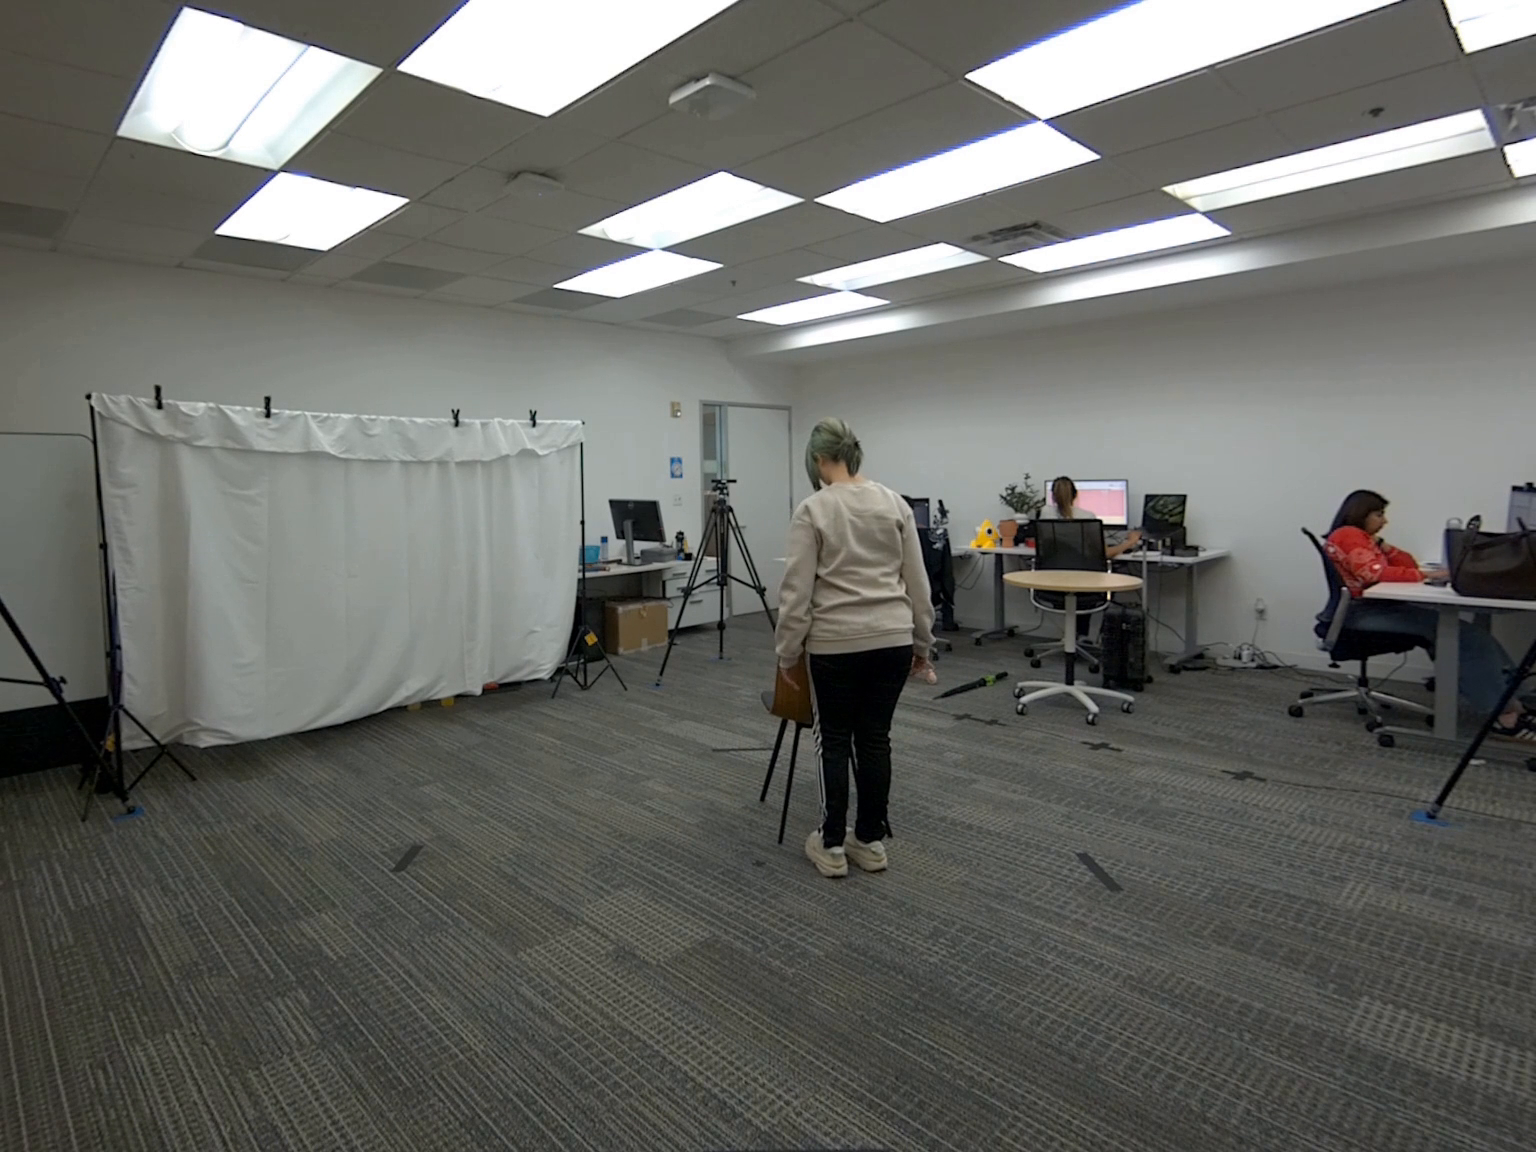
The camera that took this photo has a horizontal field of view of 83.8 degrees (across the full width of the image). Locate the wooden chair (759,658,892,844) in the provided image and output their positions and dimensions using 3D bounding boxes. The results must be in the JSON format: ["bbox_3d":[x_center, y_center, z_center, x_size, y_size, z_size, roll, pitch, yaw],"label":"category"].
[{"bbox_3d":[0.209,0.571,3.496,0.474,0.871,0.531,-2,8,-9],"label":"wooden chair"}]
